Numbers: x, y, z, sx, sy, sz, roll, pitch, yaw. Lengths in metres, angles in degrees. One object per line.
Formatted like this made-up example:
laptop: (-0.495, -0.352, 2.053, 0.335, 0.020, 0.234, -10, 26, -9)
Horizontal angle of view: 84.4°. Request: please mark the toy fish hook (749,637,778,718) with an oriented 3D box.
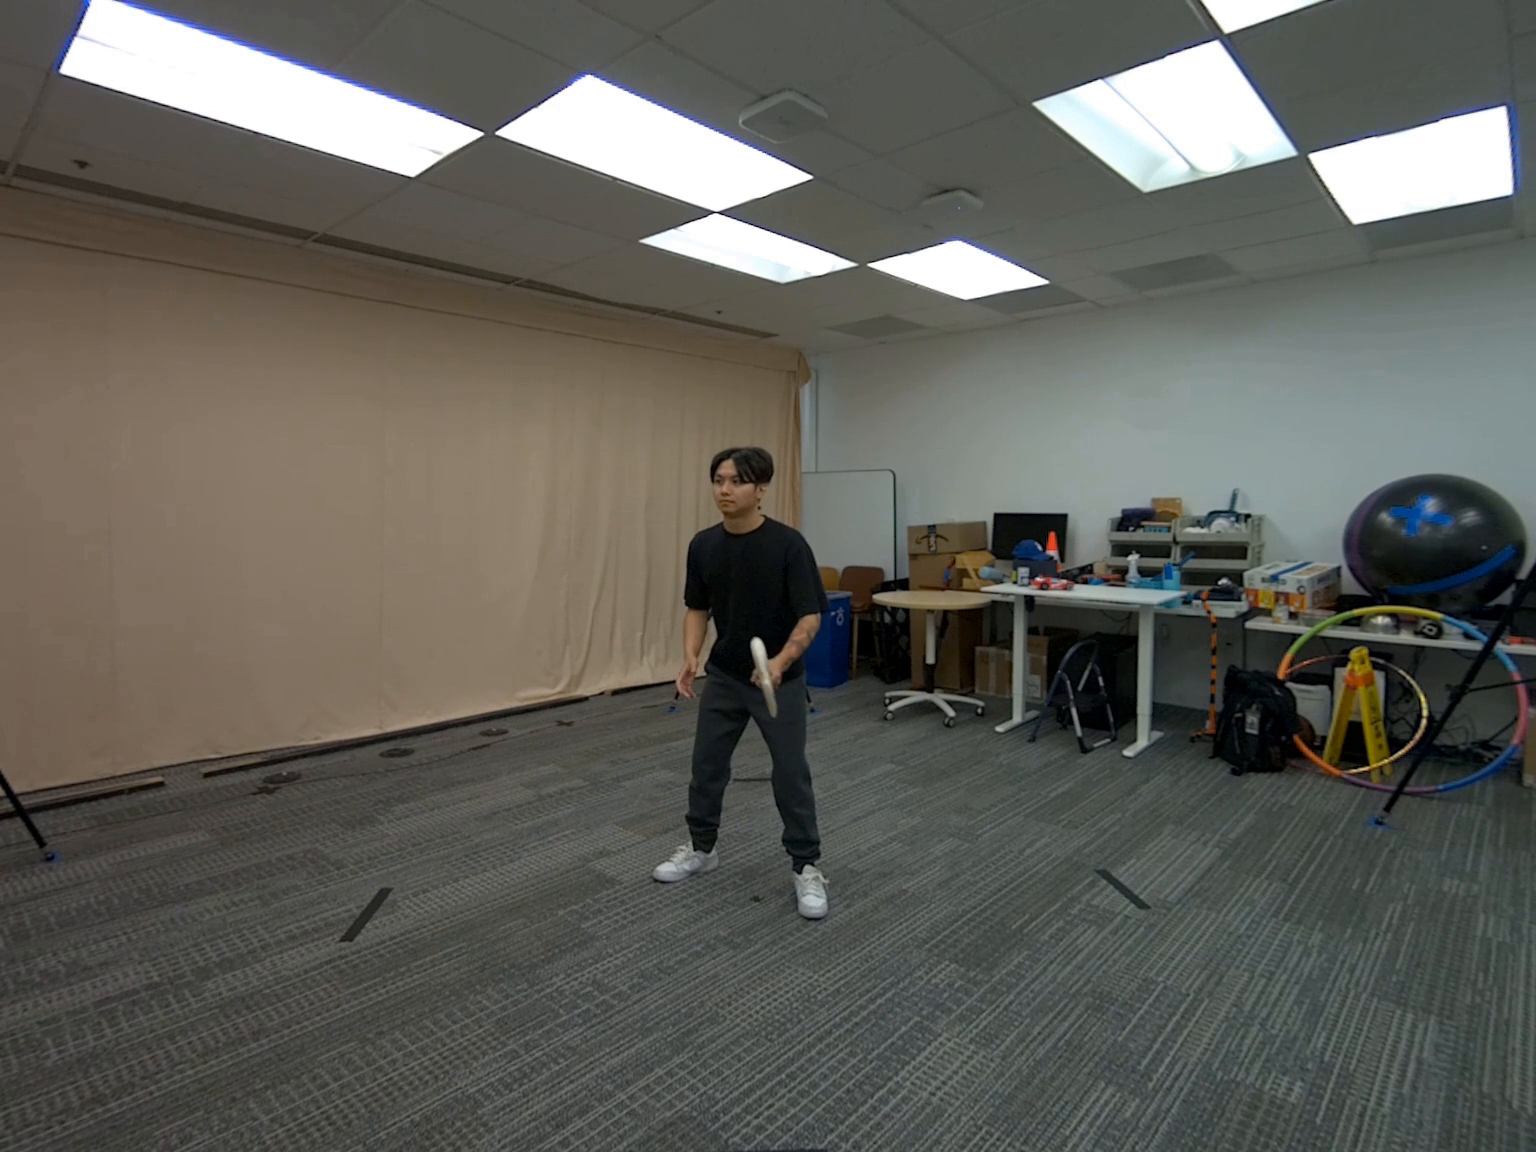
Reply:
toy fish hook: (-0.001, 0.334, 2.572, 0.048, 0.228, 0.500, -9, -18, -3)
